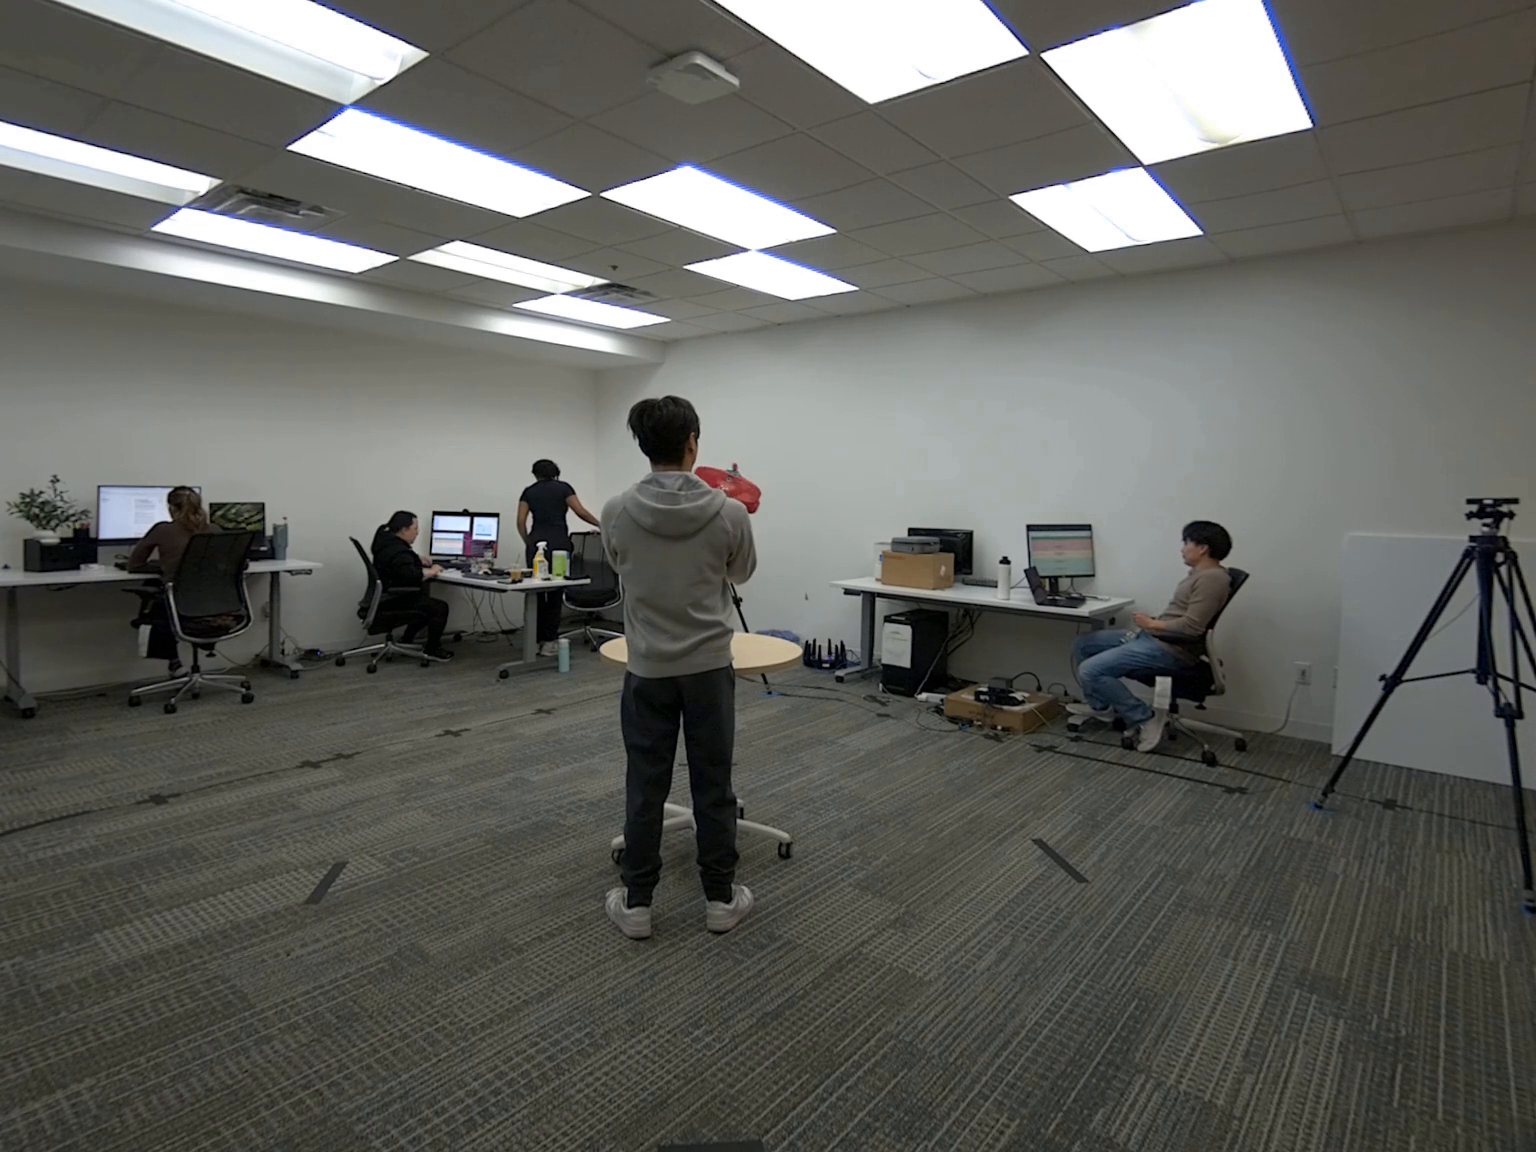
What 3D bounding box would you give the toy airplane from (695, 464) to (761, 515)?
[{"bbox_3d":[-0.167,-0.241,3.068,0.248,0.268,0.153,-1,-39,-11],"label":"toy airplane"}]
